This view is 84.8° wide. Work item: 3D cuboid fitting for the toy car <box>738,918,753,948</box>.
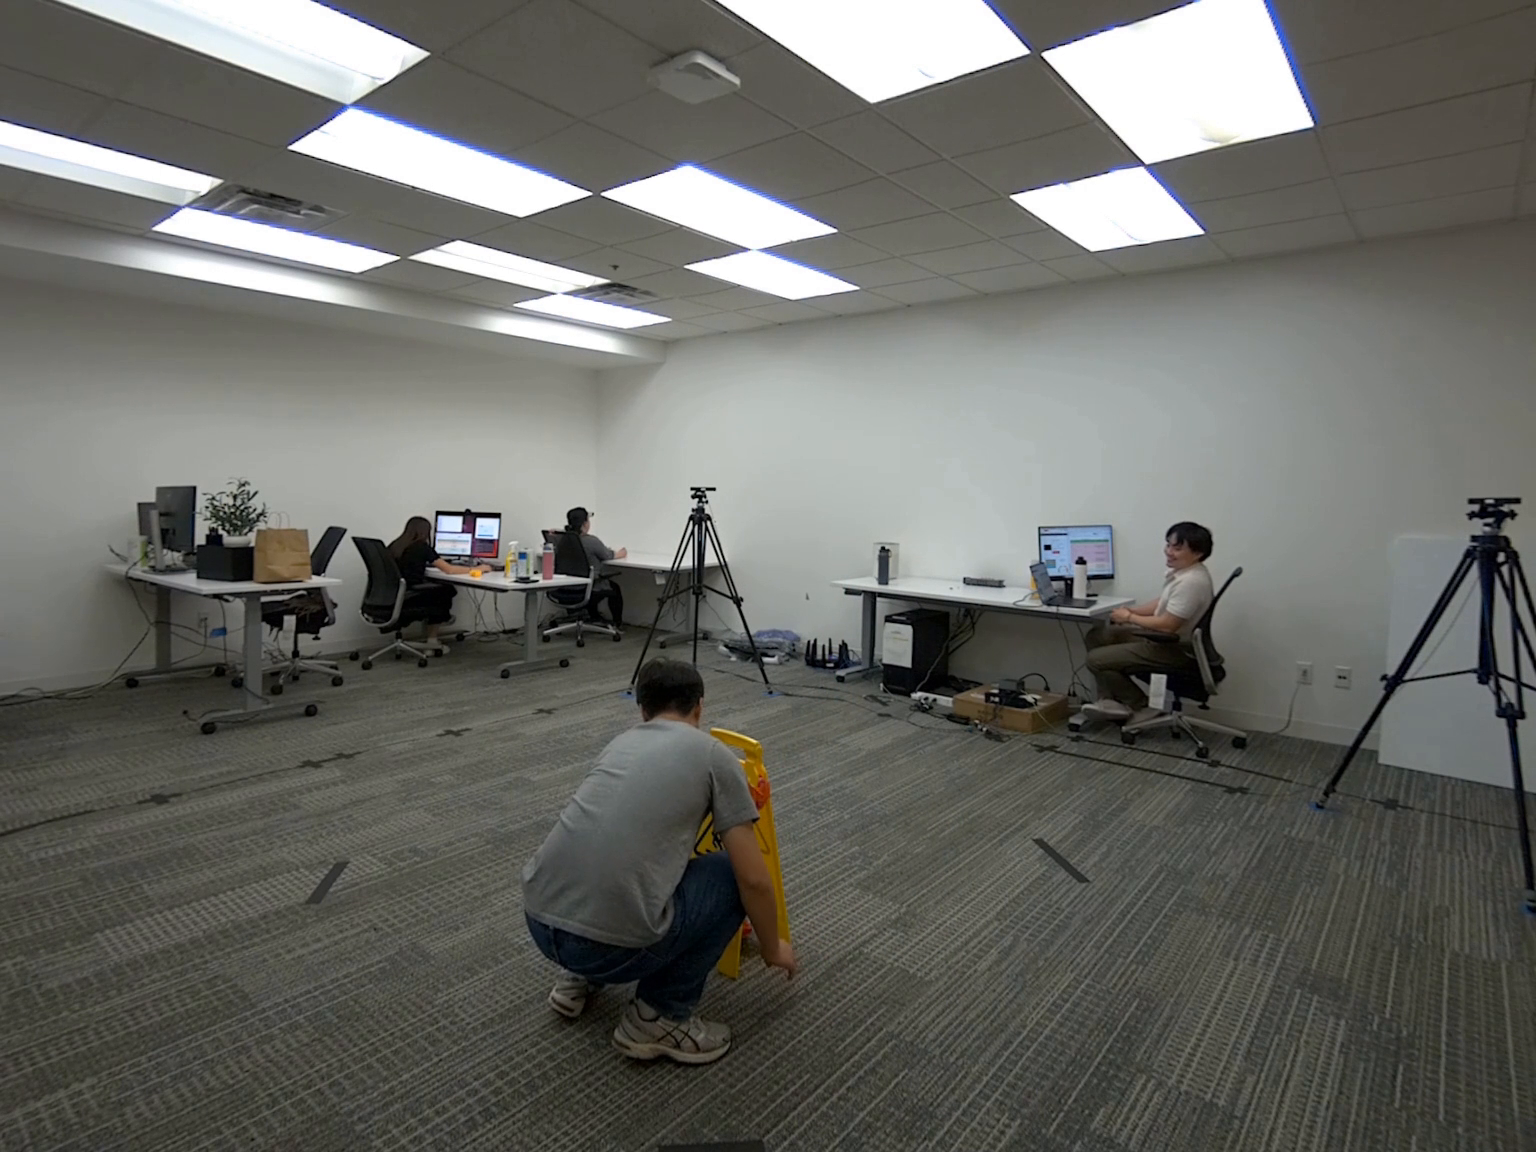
[{"bbox_3d":[-0.165,1.070,2.658,0.127,0.084,0.258,2,-12,-30],"label":"toy car"}]
